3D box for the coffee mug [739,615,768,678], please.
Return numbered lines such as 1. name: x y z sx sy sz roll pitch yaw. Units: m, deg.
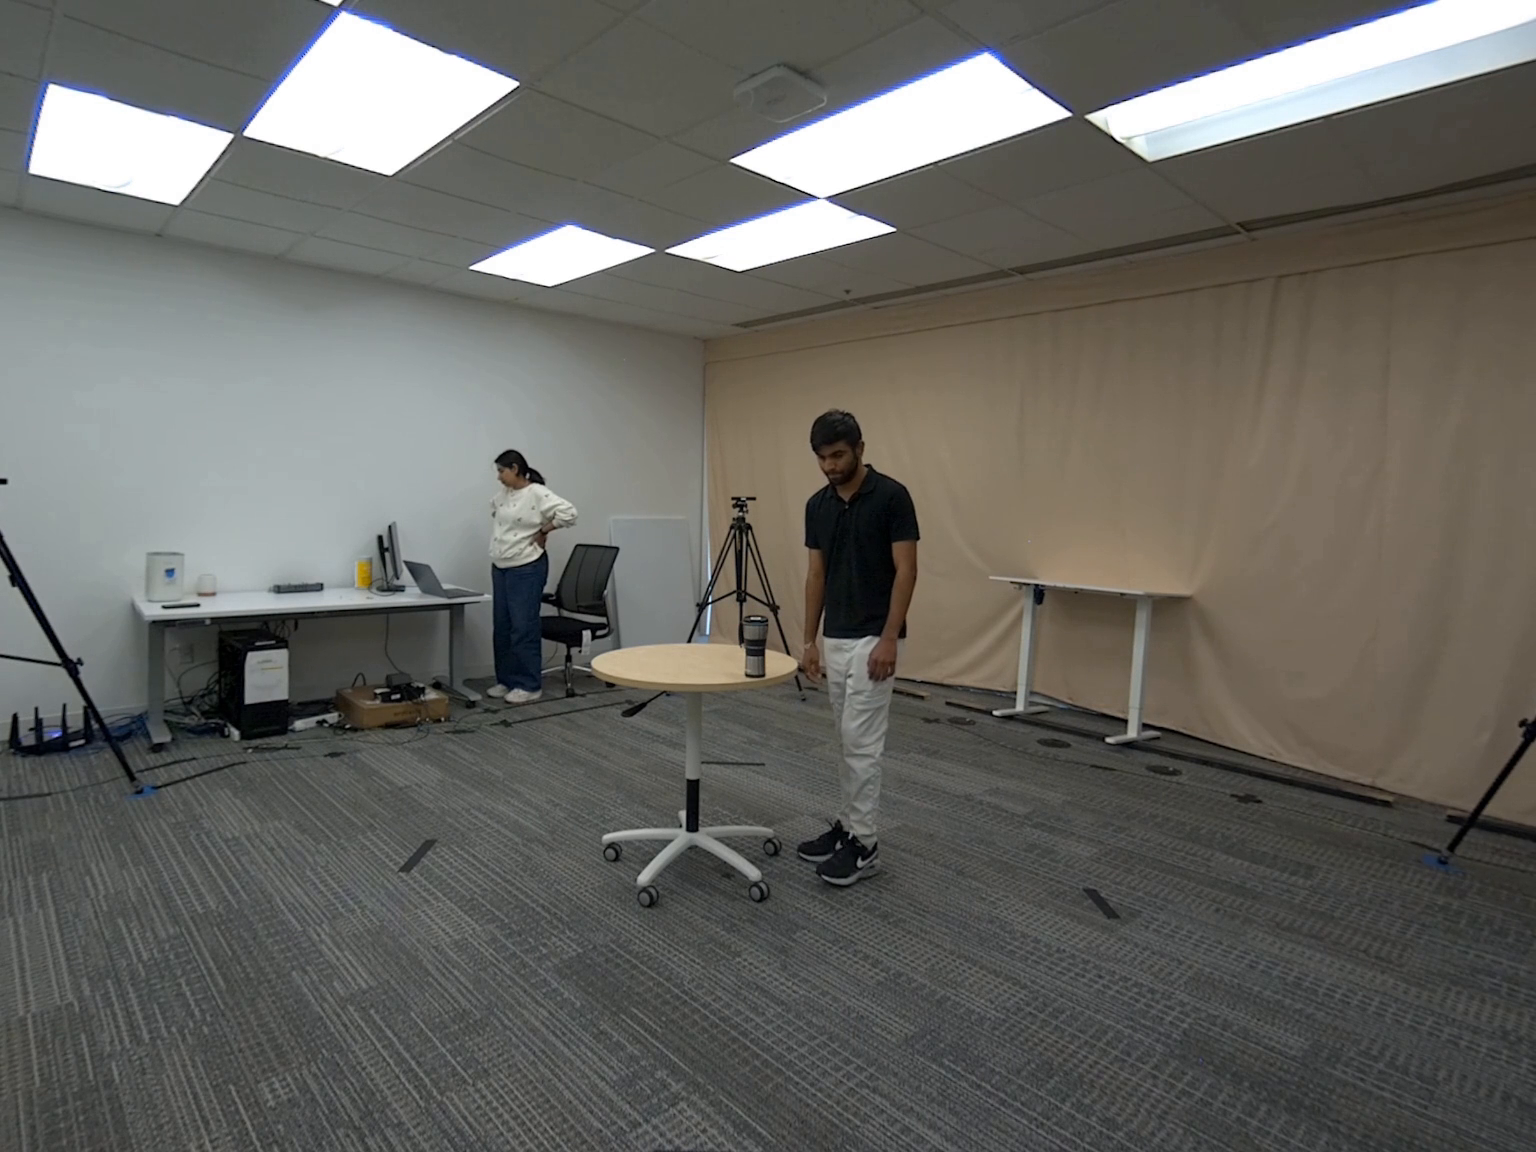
1. coffee mug: -0.036 0.242 2.894 0.090 0.203 0.119 -1 2 39
